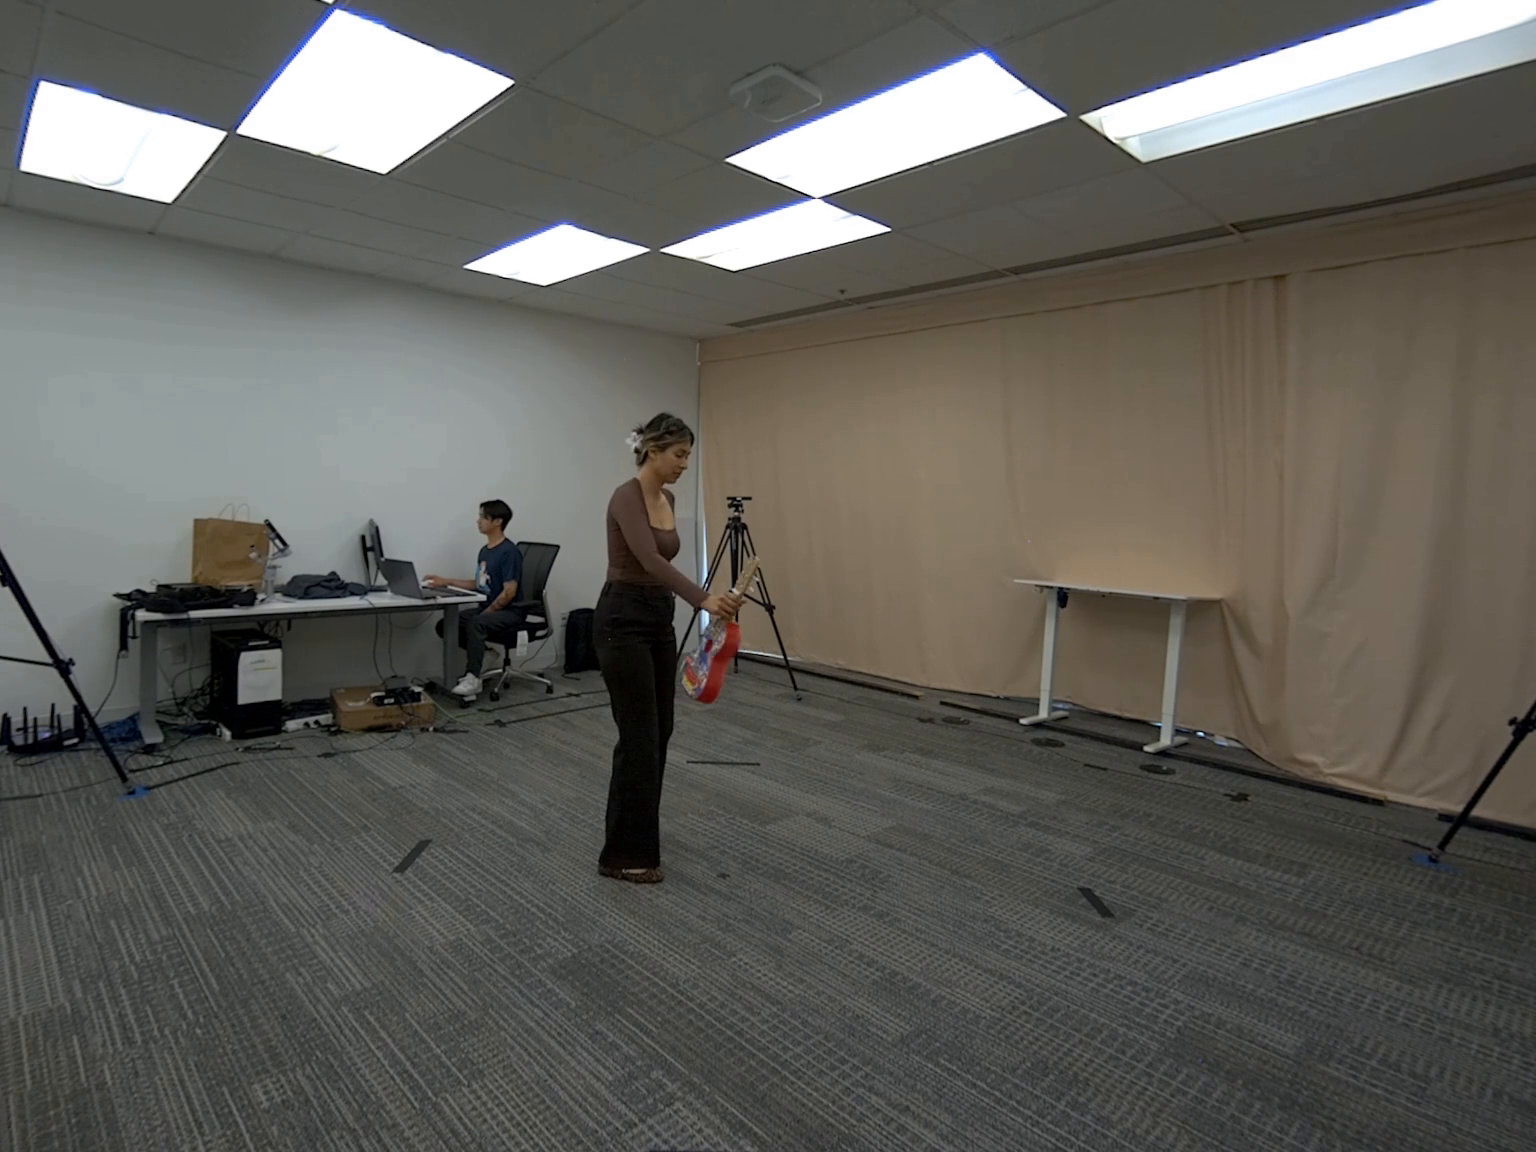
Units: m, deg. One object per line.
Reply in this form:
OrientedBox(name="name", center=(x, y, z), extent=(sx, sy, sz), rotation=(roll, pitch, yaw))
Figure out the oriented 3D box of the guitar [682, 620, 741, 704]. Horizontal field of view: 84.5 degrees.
OrientedBox(name="guitar", center=(-0.144, 0.182, 2.666), extent=(0.069, 0.496, 0.199), rotation=(21, 21, -30))
